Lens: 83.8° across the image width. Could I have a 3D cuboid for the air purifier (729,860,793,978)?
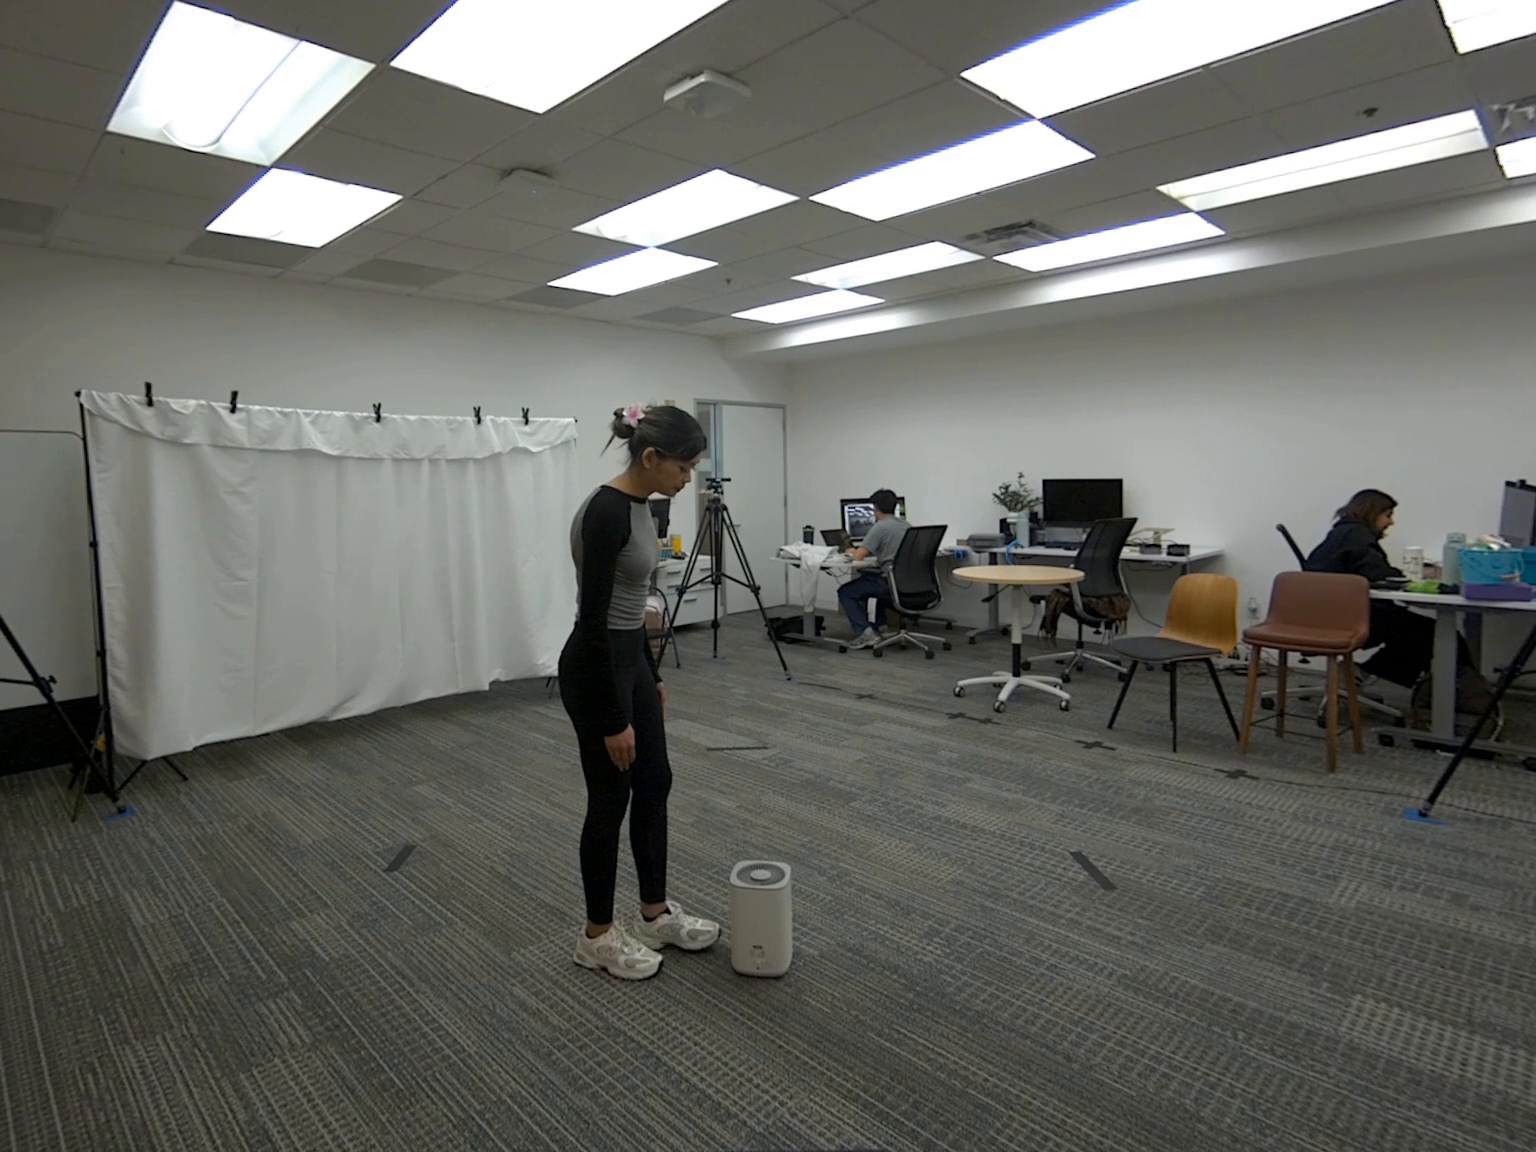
[{"bbox_3d":[-0.014,0.977,2.455,0.173,0.264,0.170,0,4,9],"label":"air purifier"}]
